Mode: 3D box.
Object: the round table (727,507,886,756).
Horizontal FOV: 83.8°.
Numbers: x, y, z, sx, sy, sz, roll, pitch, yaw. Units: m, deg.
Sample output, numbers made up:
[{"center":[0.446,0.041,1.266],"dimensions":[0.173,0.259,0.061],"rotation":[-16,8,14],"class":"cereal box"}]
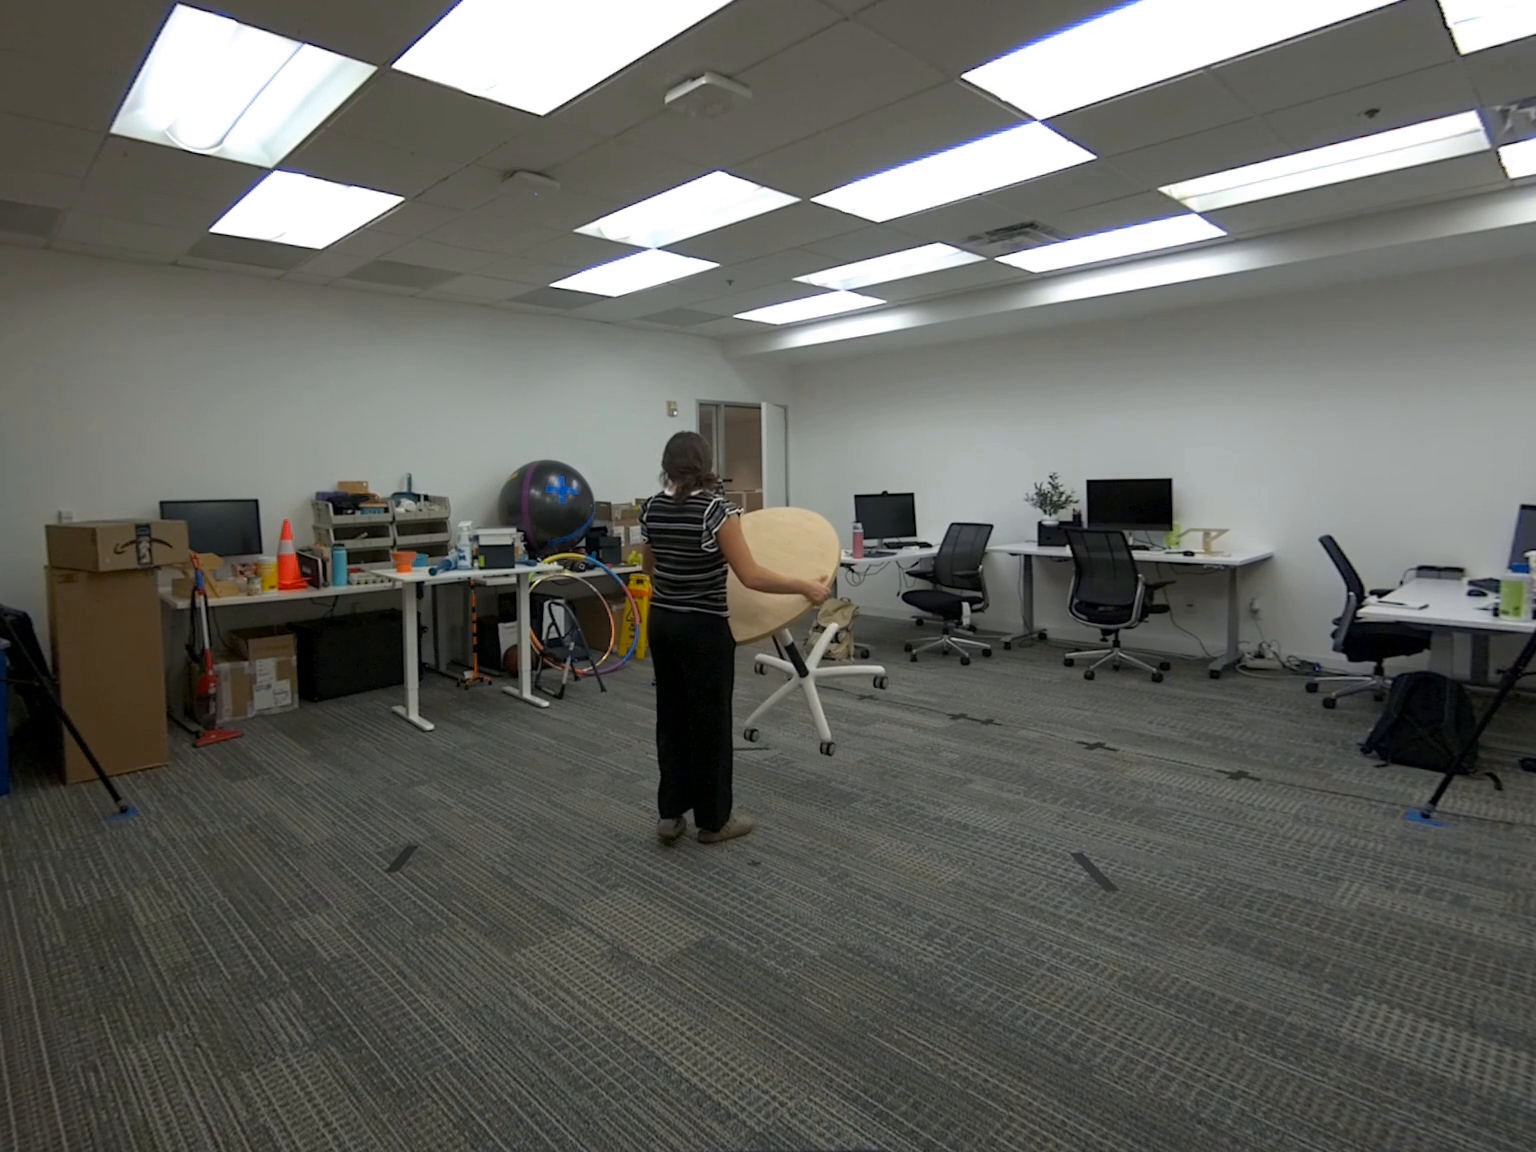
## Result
[{"center":[0.062,0.264,3.683],"dimensions":[0.770,0.766,0.785],"rotation":[-18,37,12],"class":"round table"}]
